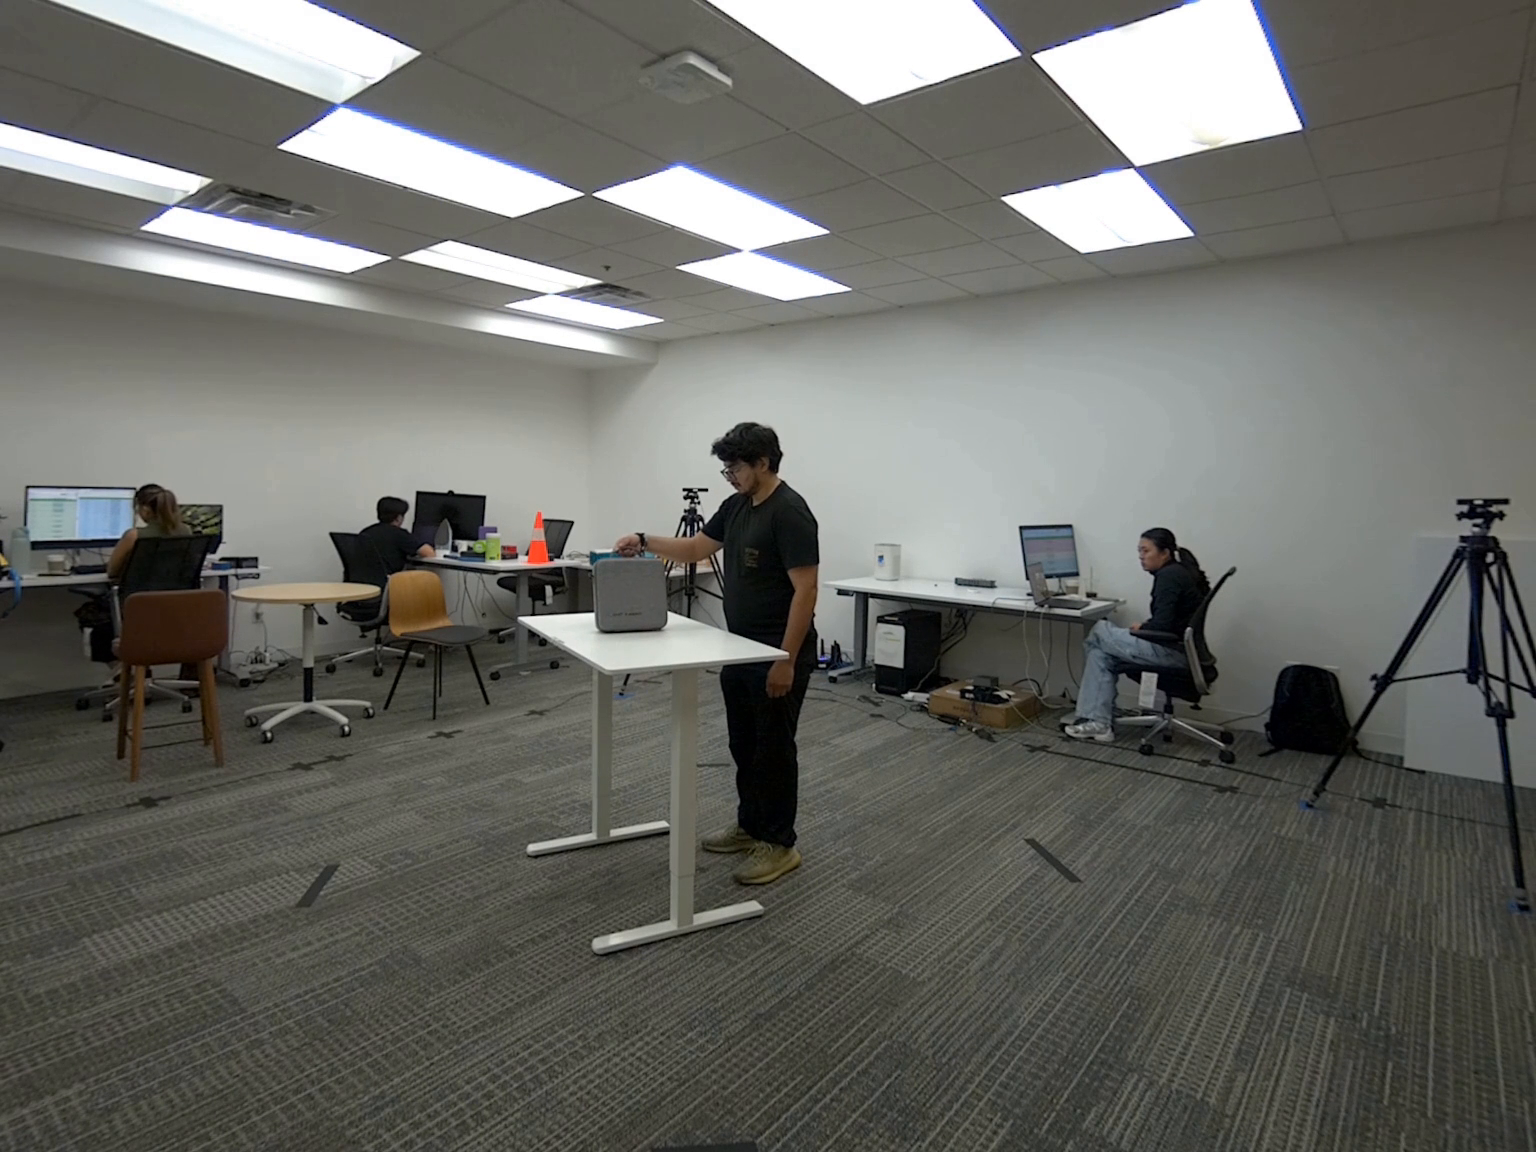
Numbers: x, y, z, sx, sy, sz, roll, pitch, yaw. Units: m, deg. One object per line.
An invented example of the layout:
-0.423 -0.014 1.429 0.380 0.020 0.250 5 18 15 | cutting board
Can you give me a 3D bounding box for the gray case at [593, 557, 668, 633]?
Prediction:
-0.504 0.056 3.022 0.252 0.262 0.106 -2 -6 -21 | gray case
